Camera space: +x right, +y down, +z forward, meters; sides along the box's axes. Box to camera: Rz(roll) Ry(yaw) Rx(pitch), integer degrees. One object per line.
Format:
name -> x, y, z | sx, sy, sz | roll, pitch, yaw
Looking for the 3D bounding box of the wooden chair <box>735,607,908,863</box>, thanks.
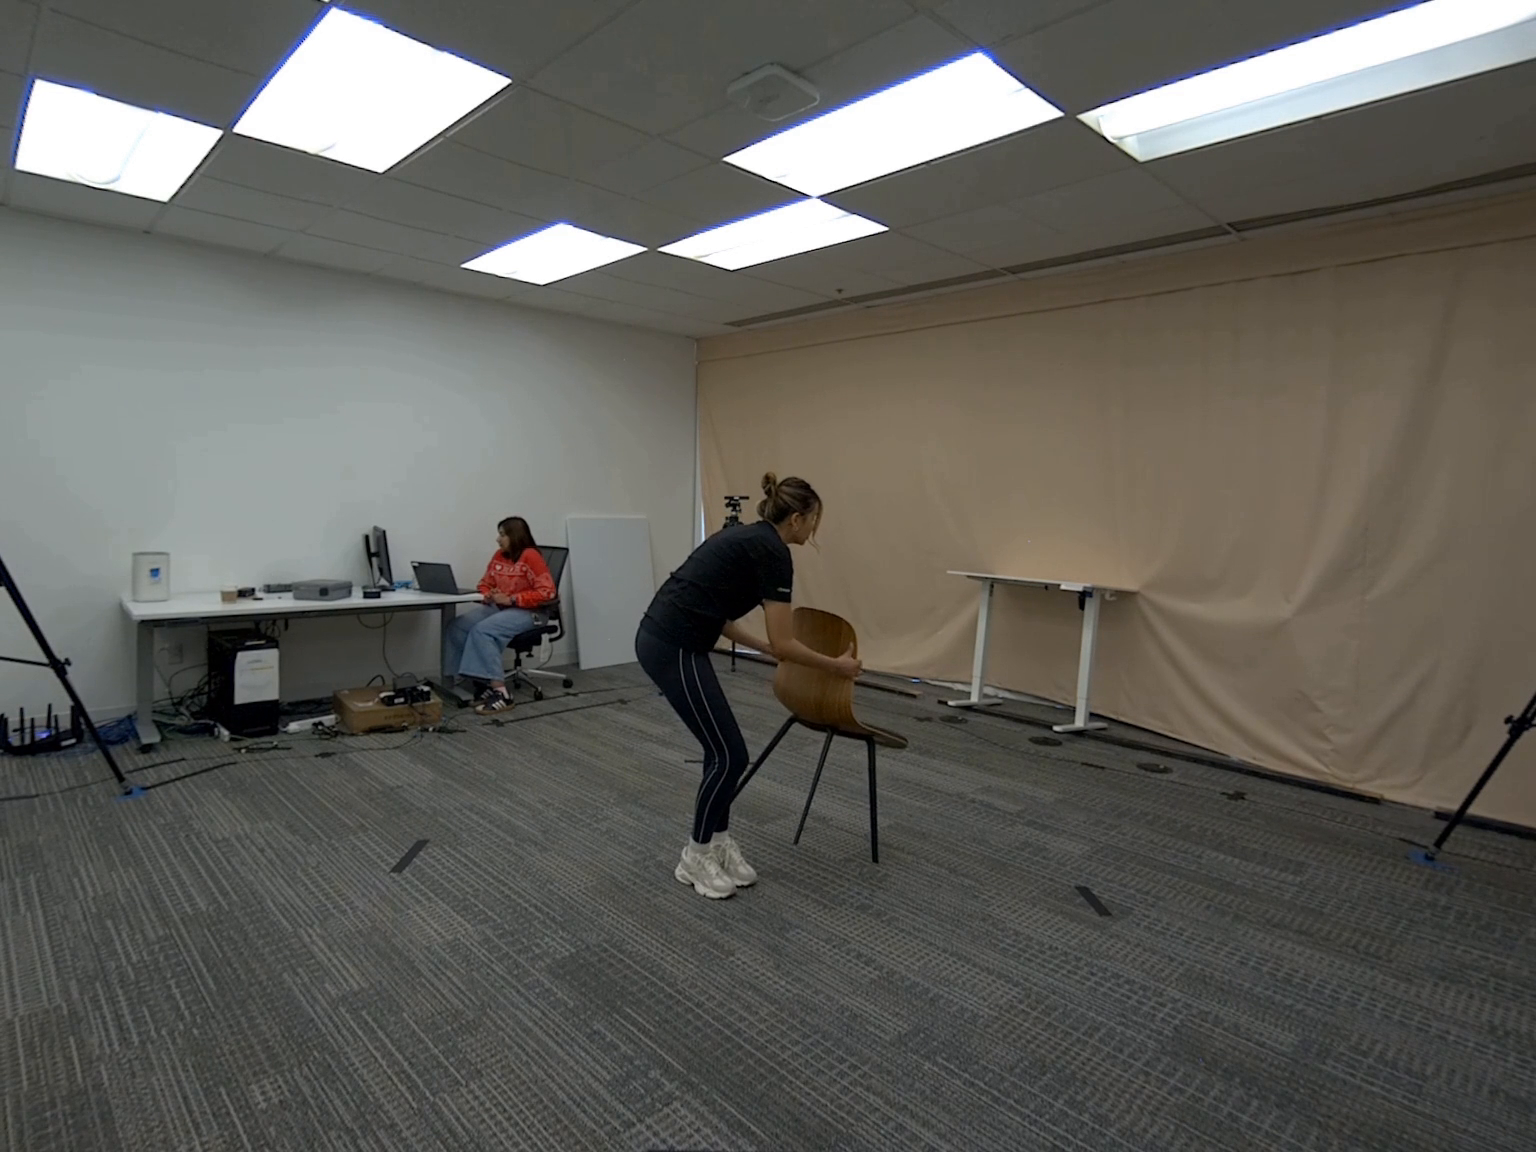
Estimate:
wooden chair -> 0.245, 0.605, 3.342 | 0.508, 0.880, 0.490 | 20, -9, -36
